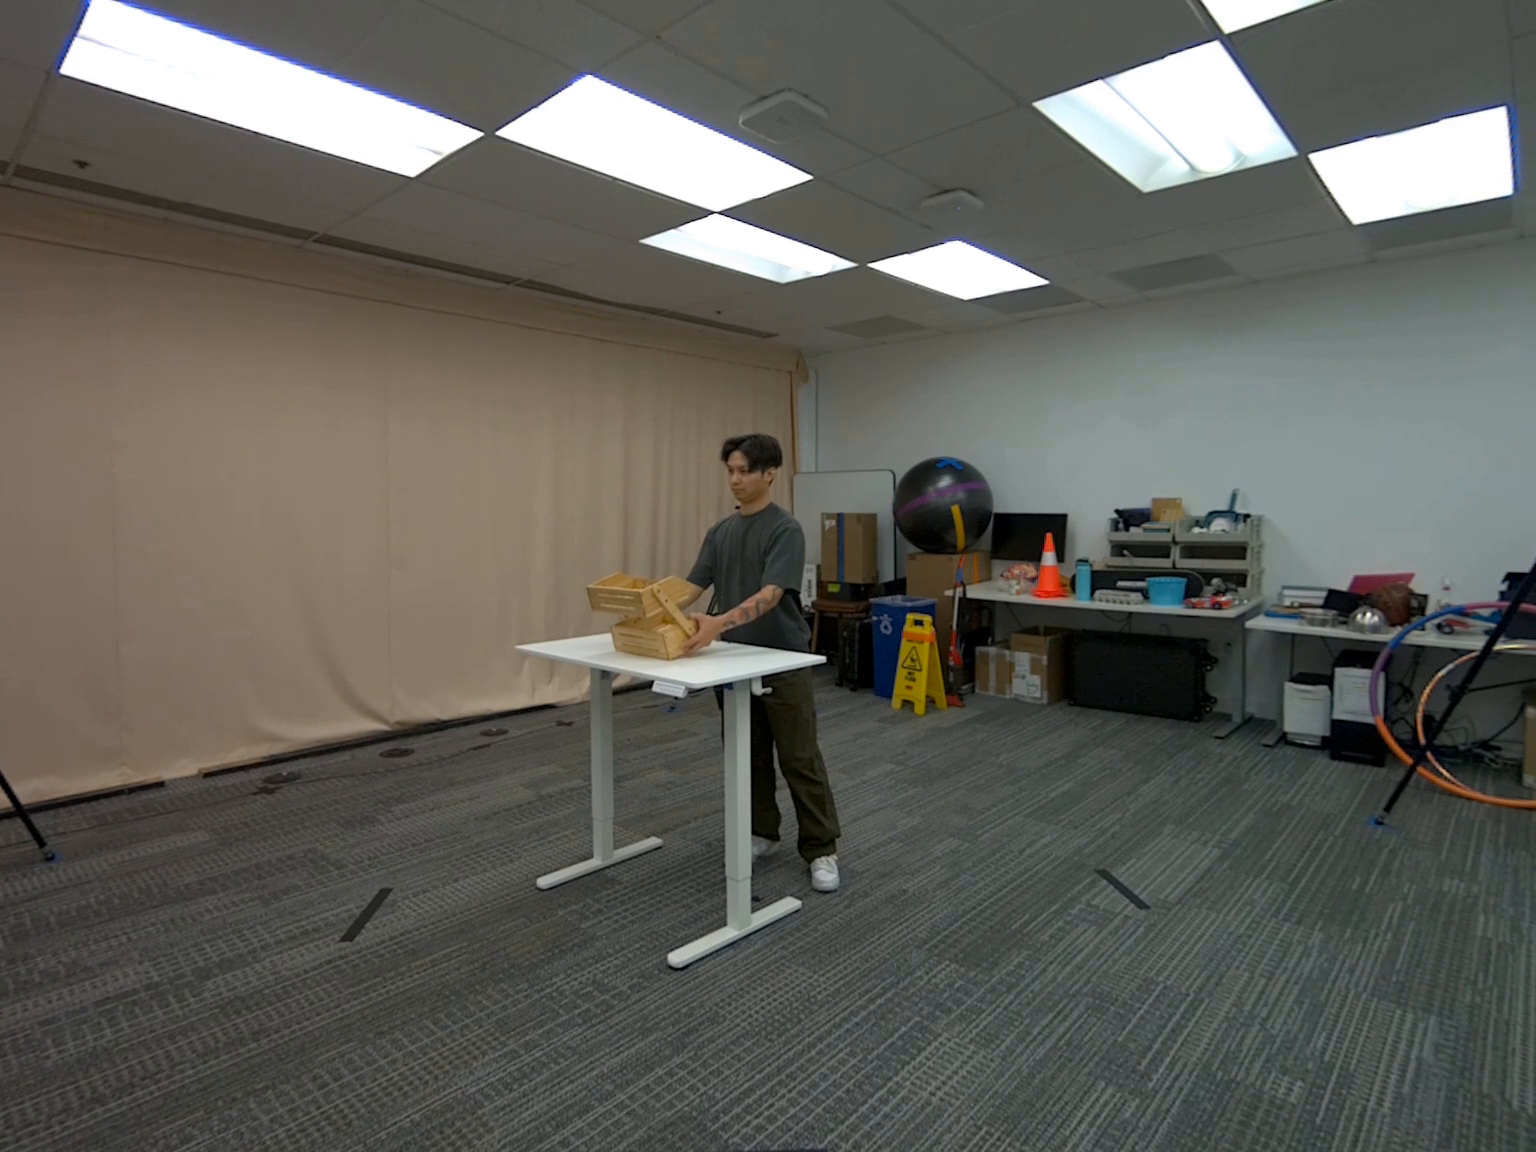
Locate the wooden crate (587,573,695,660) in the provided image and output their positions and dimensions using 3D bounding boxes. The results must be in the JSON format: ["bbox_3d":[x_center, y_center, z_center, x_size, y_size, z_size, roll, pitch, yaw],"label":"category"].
[{"bbox_3d":[-0.396,0.109,2.910,0.335,0.270,0.295,3,20,44],"label":"wooden crate"}]
